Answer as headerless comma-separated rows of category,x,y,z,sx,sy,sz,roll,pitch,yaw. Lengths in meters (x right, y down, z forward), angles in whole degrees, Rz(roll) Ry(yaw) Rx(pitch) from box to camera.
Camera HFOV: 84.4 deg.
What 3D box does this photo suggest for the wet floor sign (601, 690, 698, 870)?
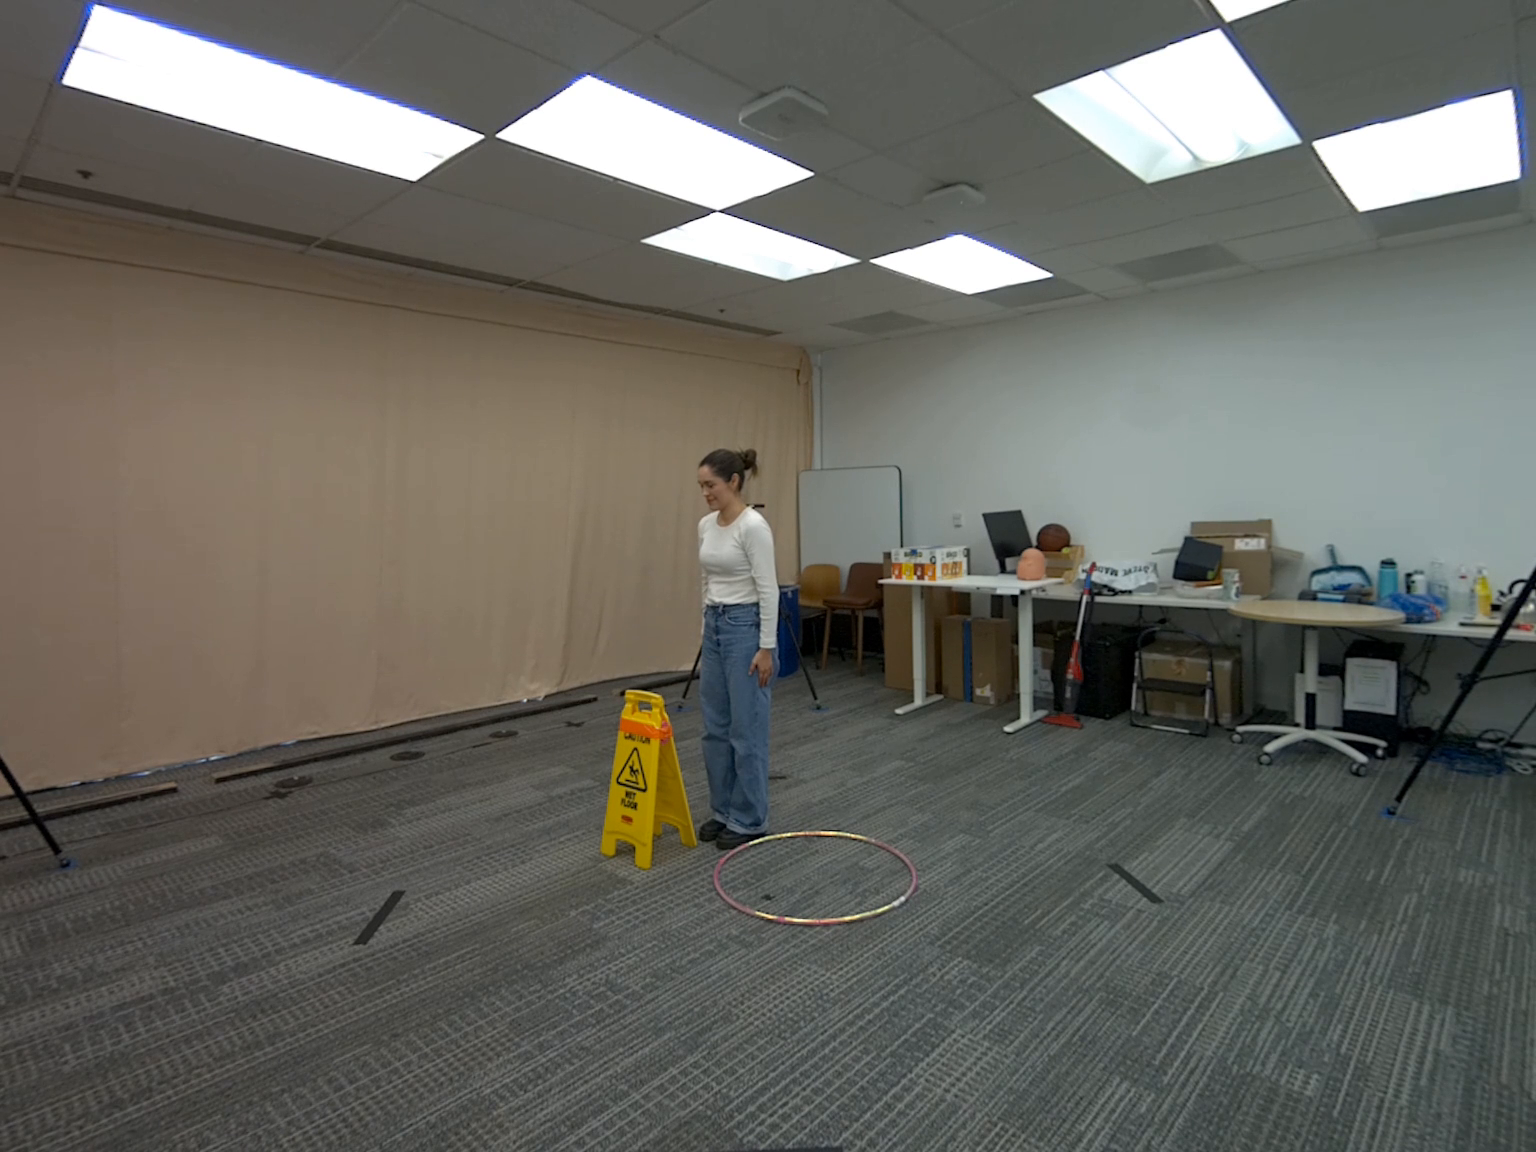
wet floor sign,-0.487,0.788,3.405,0.291,0.645,0.281,0,4,40
